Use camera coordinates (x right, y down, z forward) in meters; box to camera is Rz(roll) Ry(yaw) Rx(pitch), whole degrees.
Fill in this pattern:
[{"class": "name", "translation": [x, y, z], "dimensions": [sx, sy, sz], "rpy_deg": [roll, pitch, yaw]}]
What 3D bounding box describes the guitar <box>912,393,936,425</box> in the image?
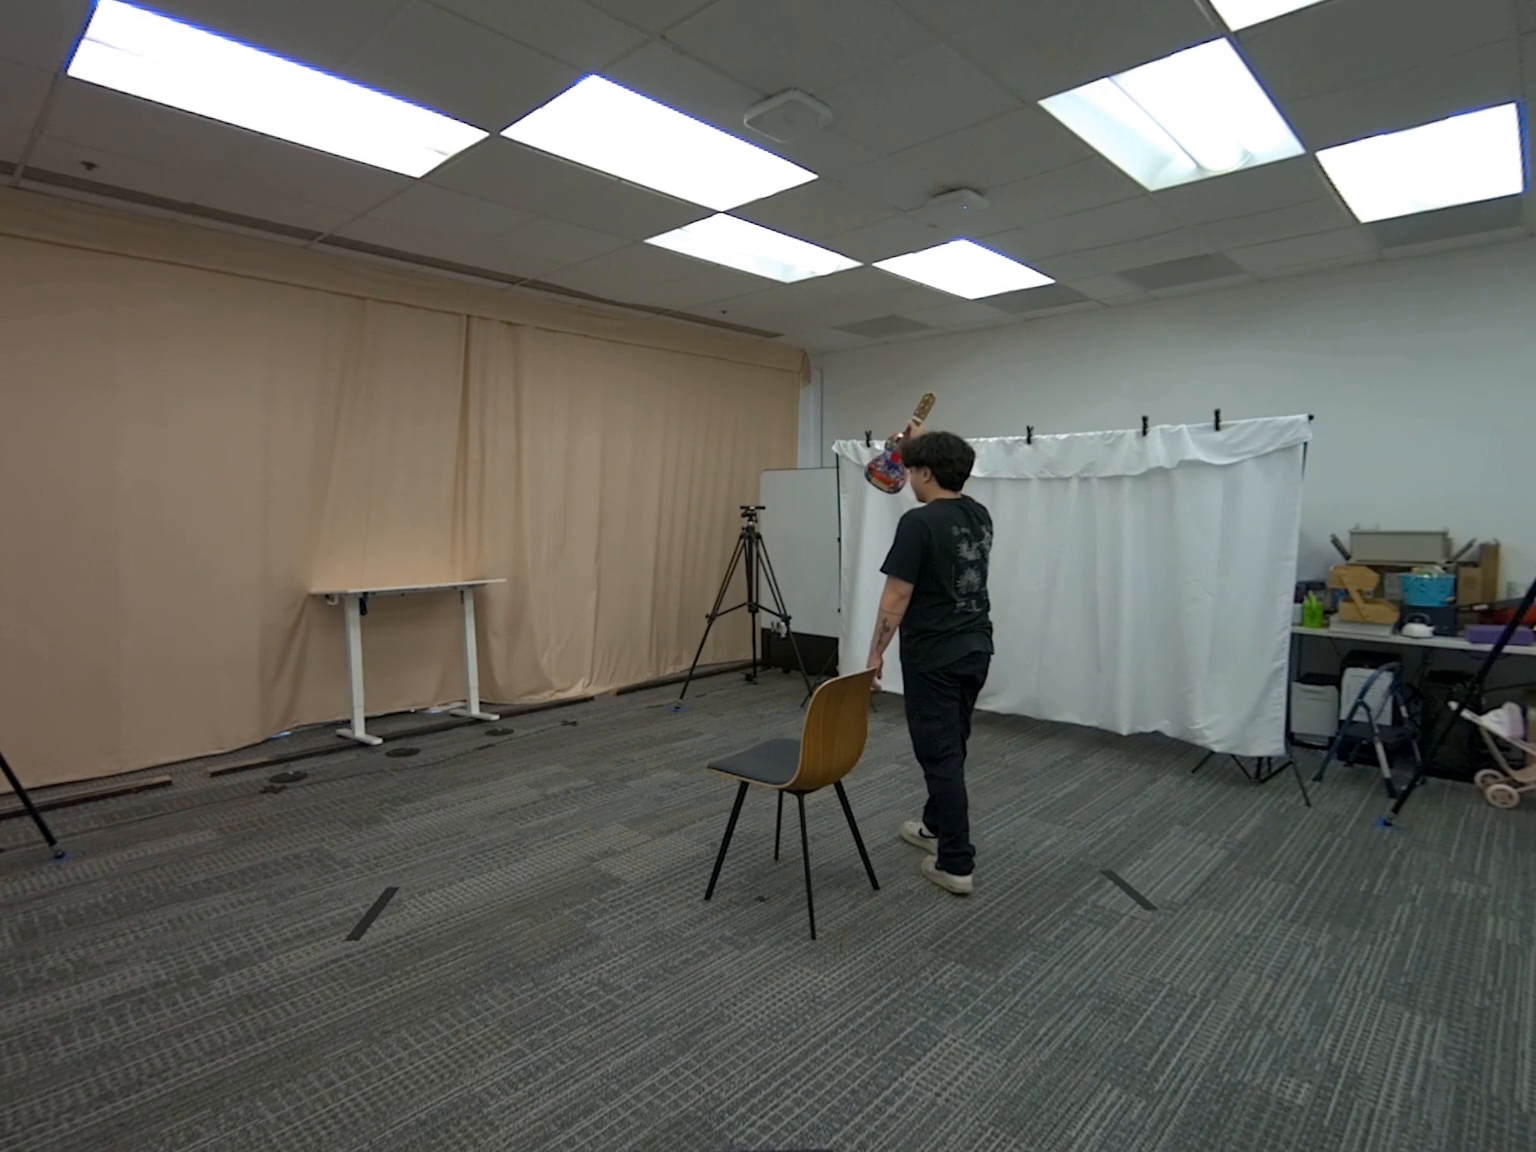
[{"class": "guitar", "translation": [0.627, -0.581, 3.739], "dimensions": [0.195, 0.499, 0.070], "rpy_deg": [40, 32, 8]}]
